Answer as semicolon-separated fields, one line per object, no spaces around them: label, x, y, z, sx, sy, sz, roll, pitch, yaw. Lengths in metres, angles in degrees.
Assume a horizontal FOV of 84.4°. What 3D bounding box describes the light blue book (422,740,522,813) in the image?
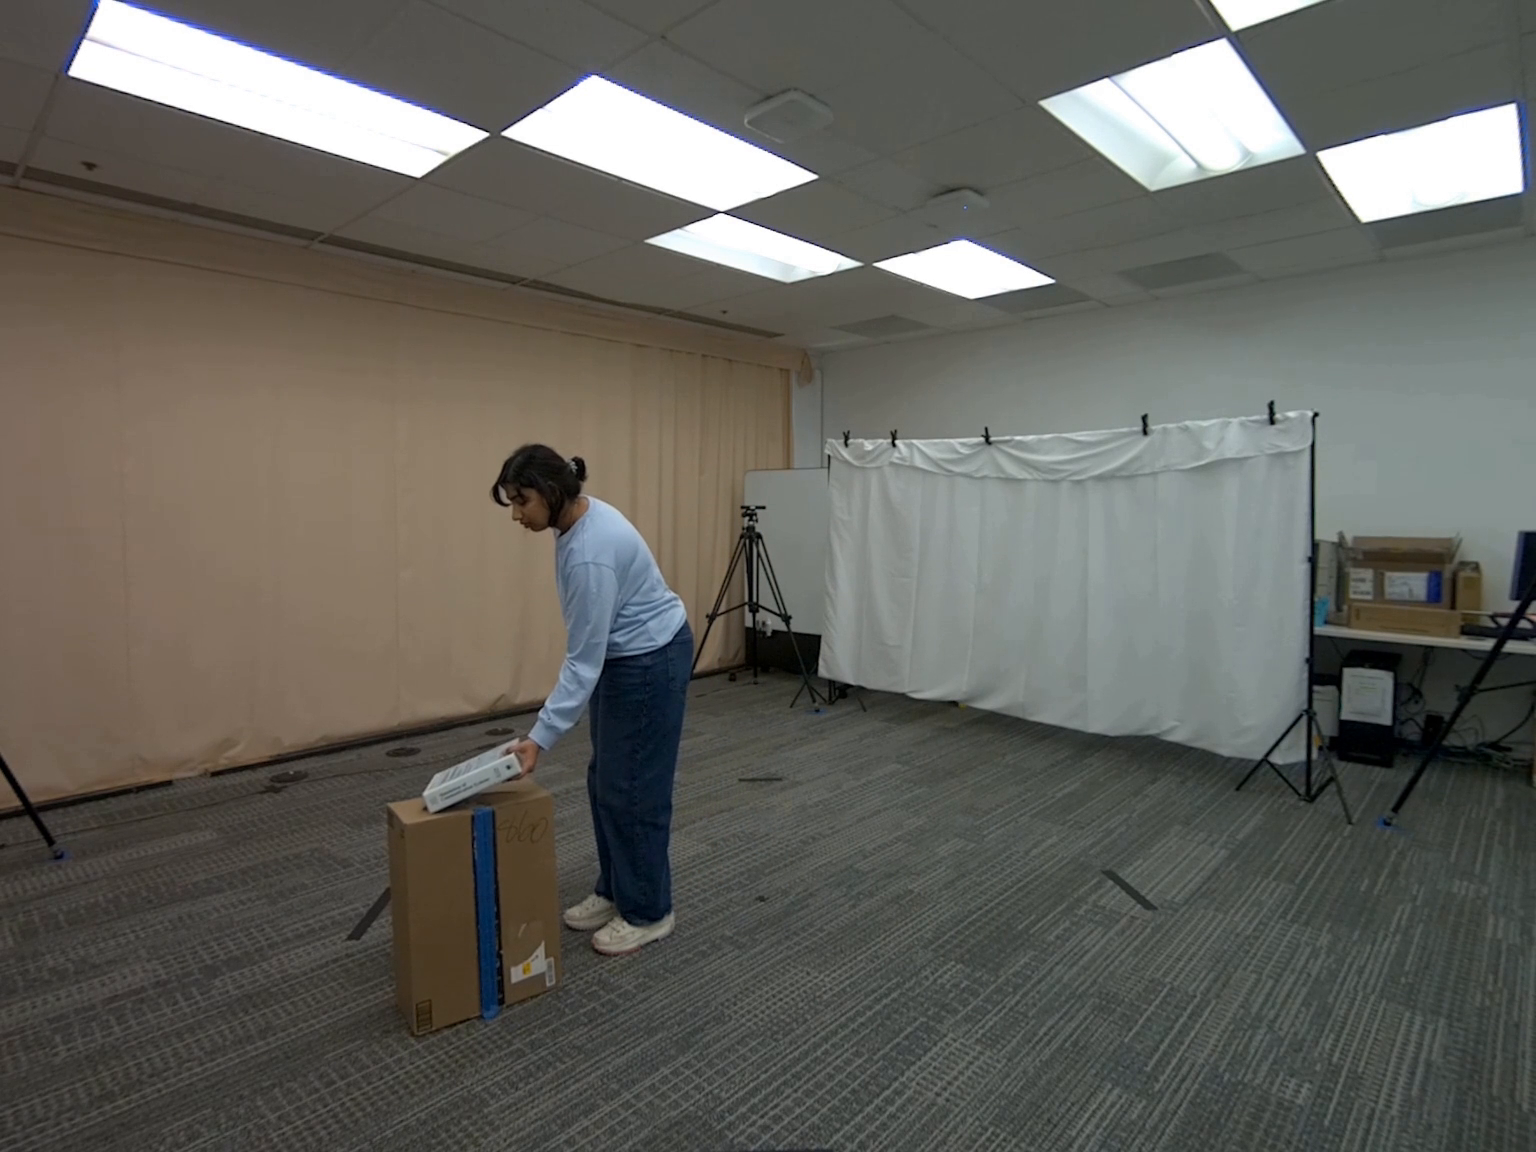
light blue book;-0.821;0.559;2.376;0.260;0.058;0.193;-24;8;-7
